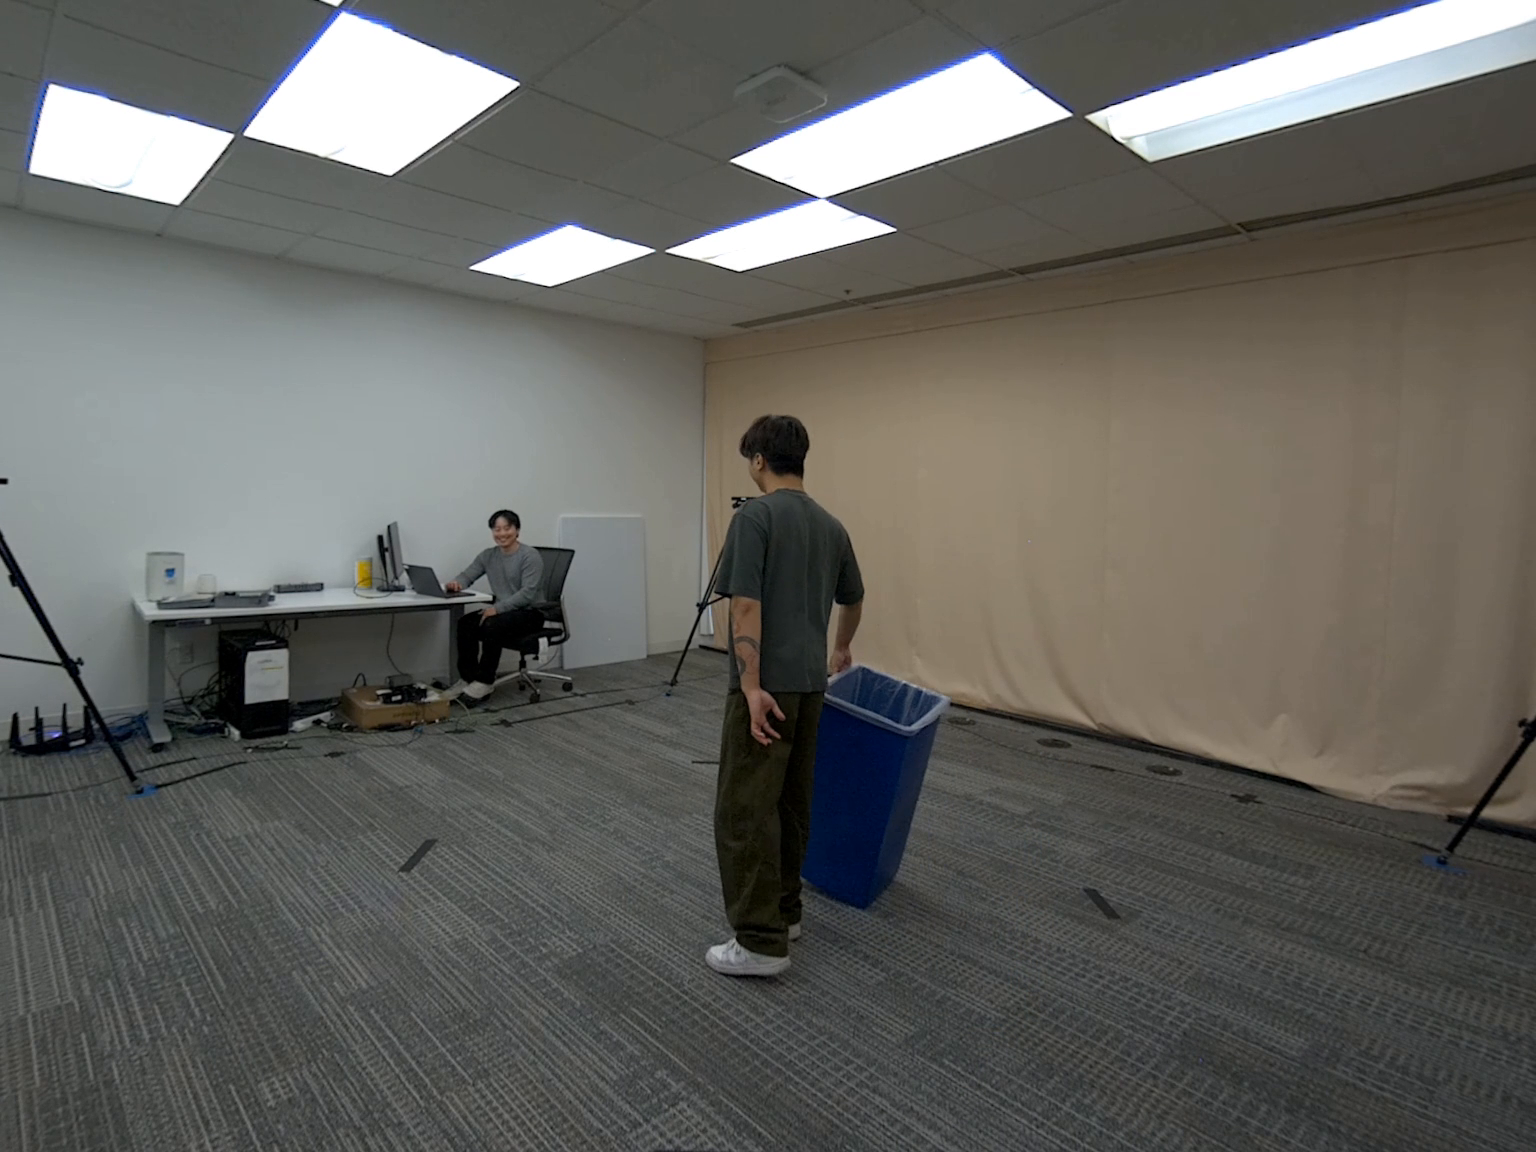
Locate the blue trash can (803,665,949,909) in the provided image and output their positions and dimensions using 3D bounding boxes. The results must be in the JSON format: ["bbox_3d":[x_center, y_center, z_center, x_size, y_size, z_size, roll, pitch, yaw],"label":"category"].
[{"bbox_3d":[0.328,0.743,2.968,0.387,0.707,0.368,17,16,28],"label":"blue trash can"}]
